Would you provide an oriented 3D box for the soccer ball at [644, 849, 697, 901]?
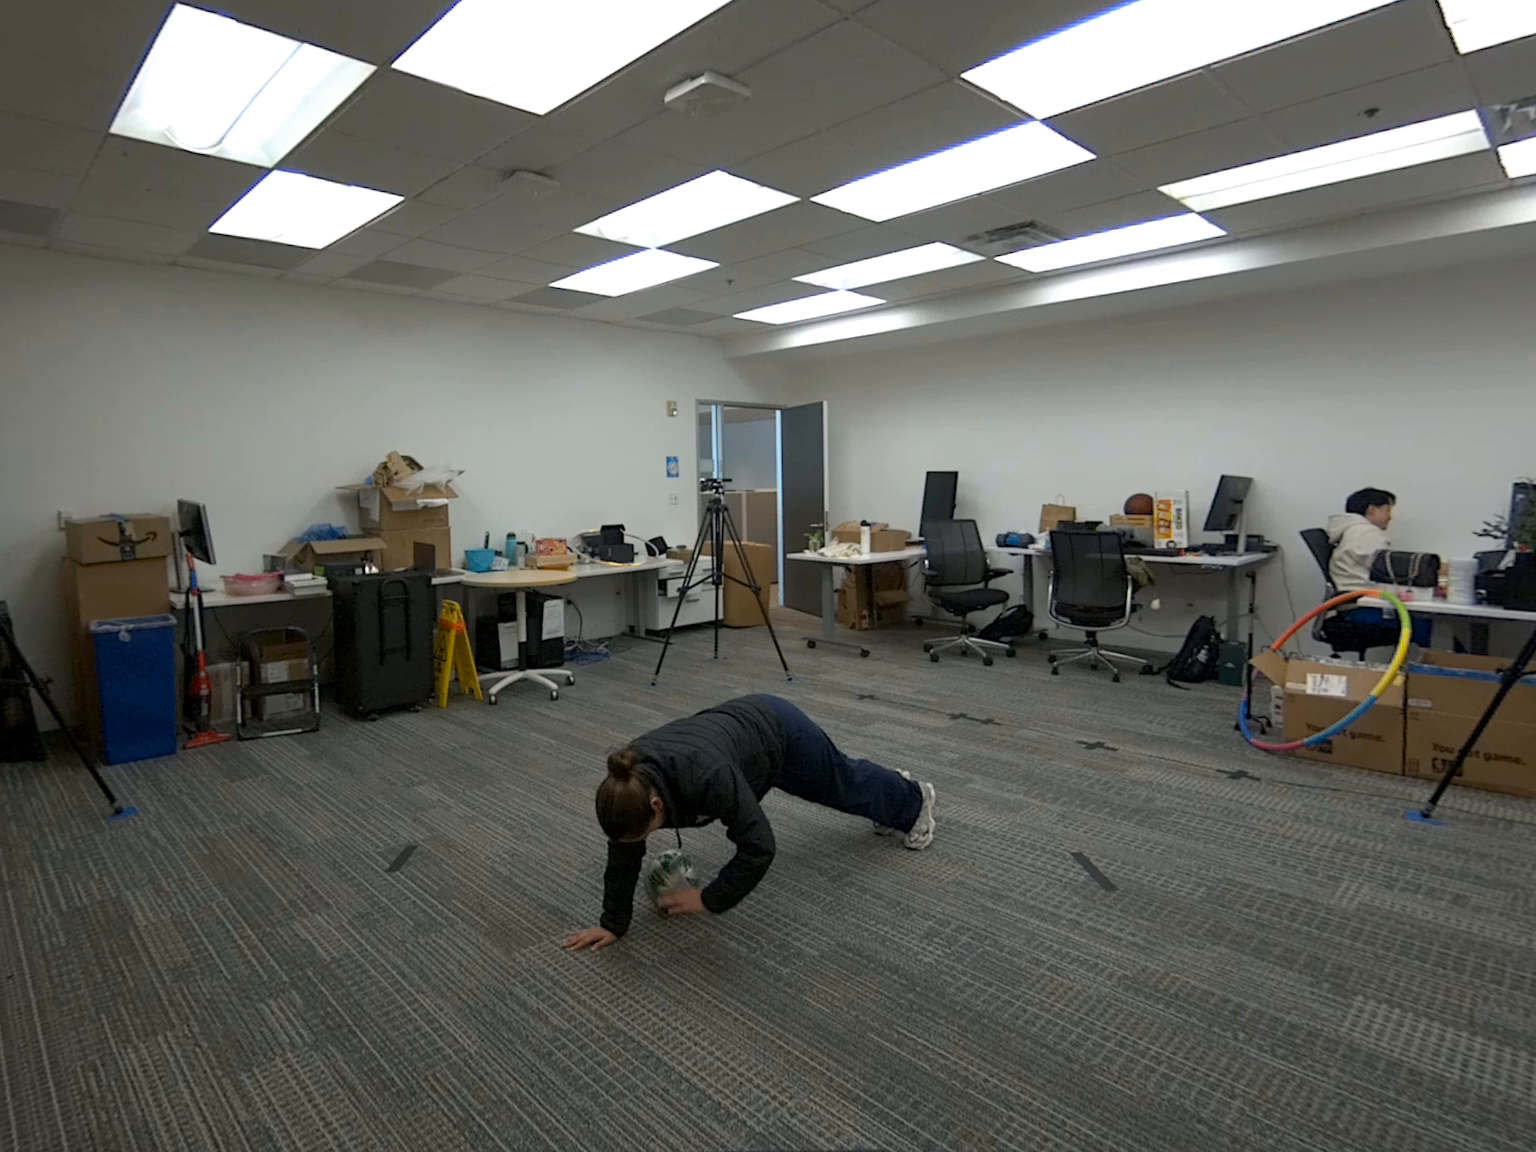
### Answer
[{"bbox_3d":[-0.308,0.994,2.789,0.187,0.187,0.188,-1,5,-2],"label":"soccer ball"}]
